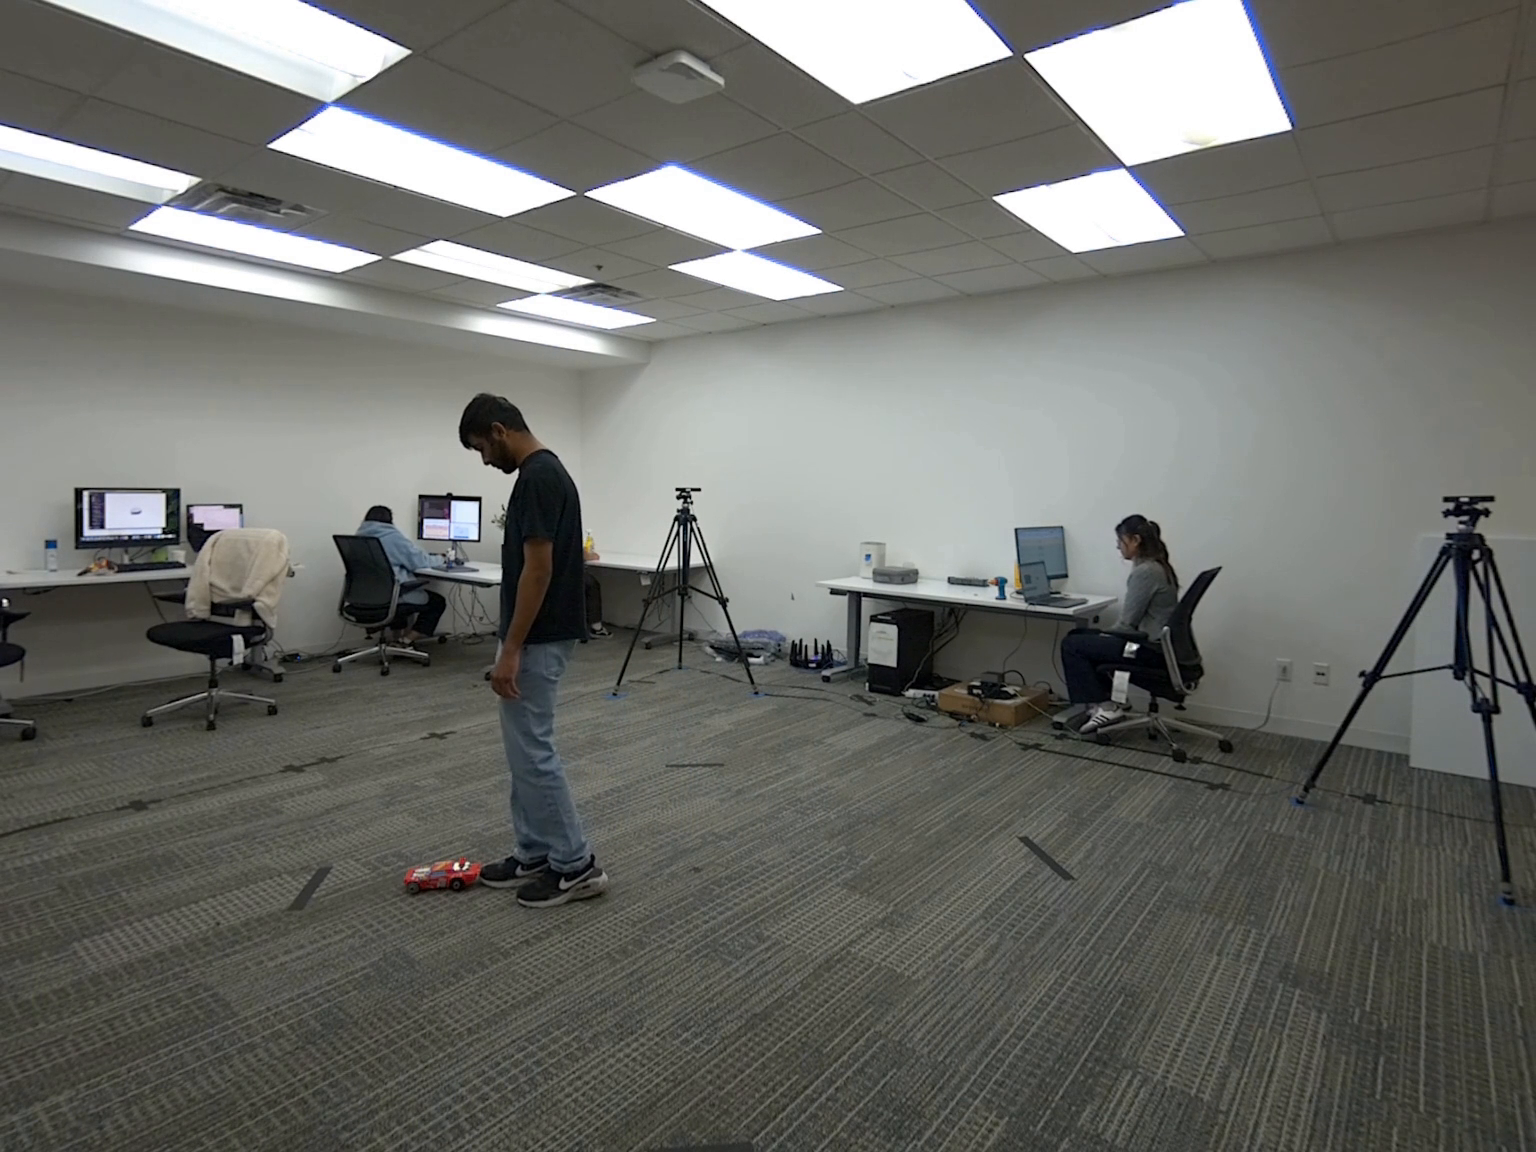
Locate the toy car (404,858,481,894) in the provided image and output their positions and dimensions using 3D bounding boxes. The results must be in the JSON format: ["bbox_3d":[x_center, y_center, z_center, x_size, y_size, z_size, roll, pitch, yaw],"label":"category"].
[{"bbox_3d":[-1.136,1.039,2.959,0.253,0.083,0.132,-12,6,-7],"label":"toy car"}]
